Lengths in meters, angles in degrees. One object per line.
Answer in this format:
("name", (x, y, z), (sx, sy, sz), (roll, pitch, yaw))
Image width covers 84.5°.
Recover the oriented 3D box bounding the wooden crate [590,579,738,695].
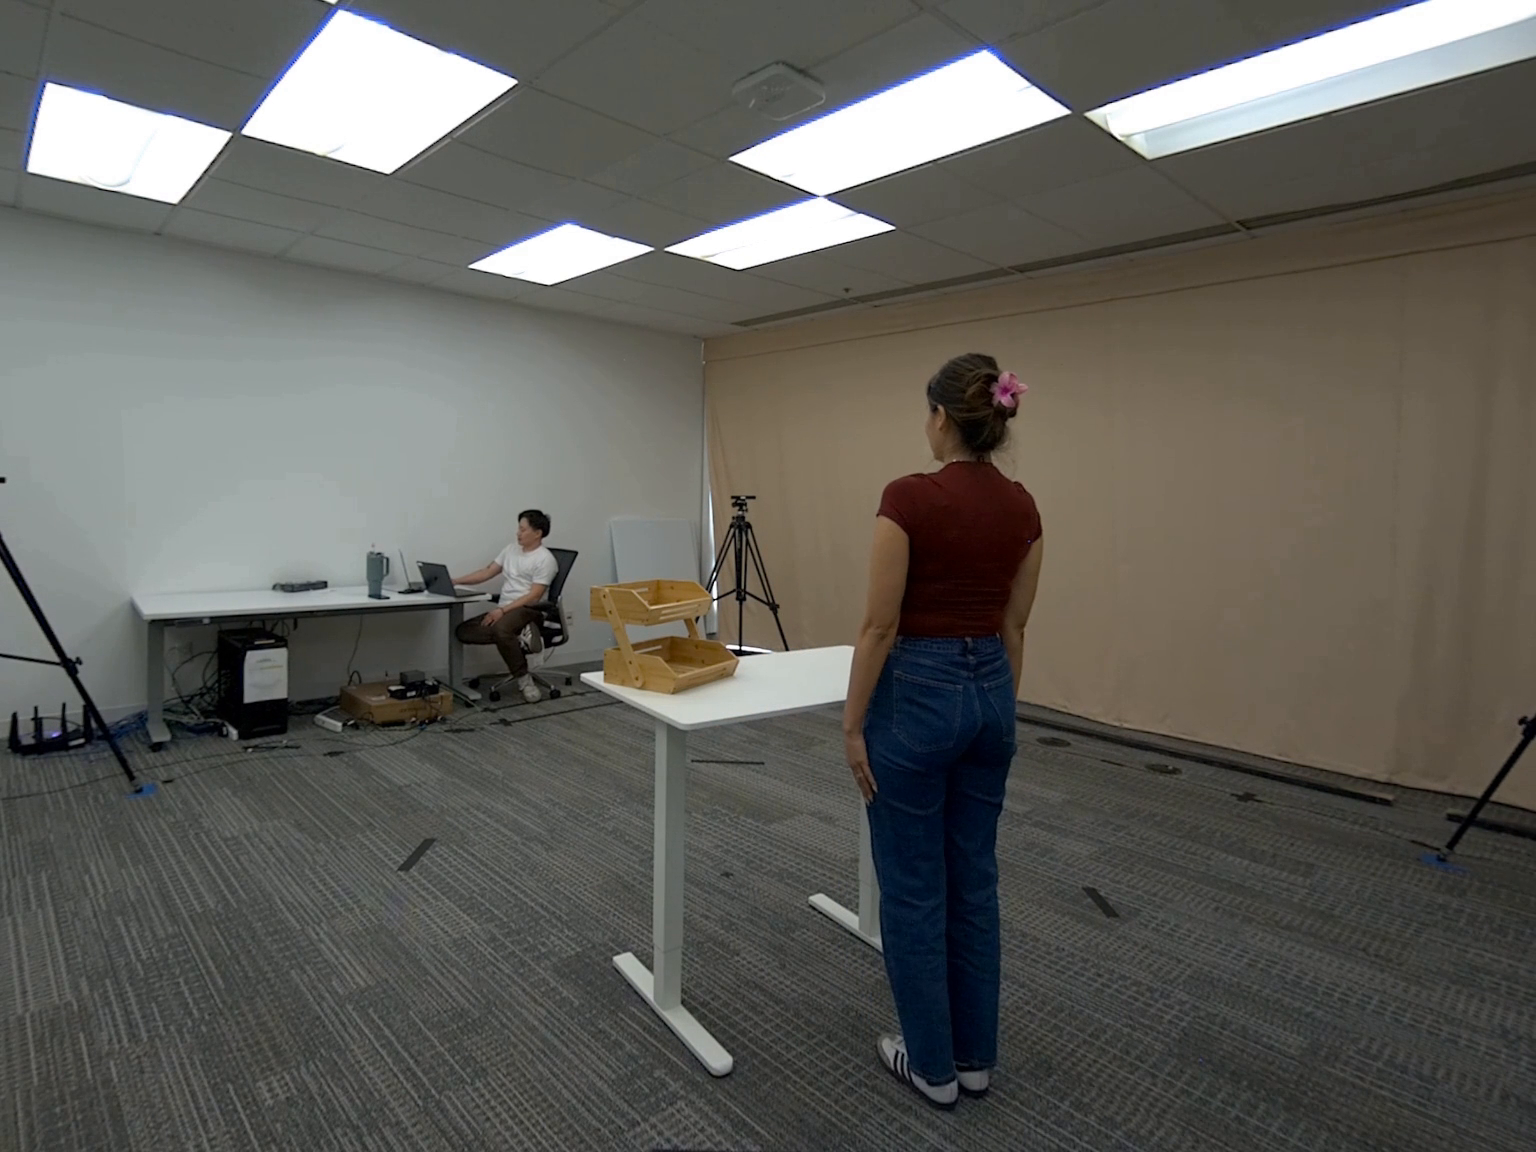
("wooden crate", (-0.291, 0.160, 2.345), (0.309, 0.272, 0.318), (4, 5, 32))
